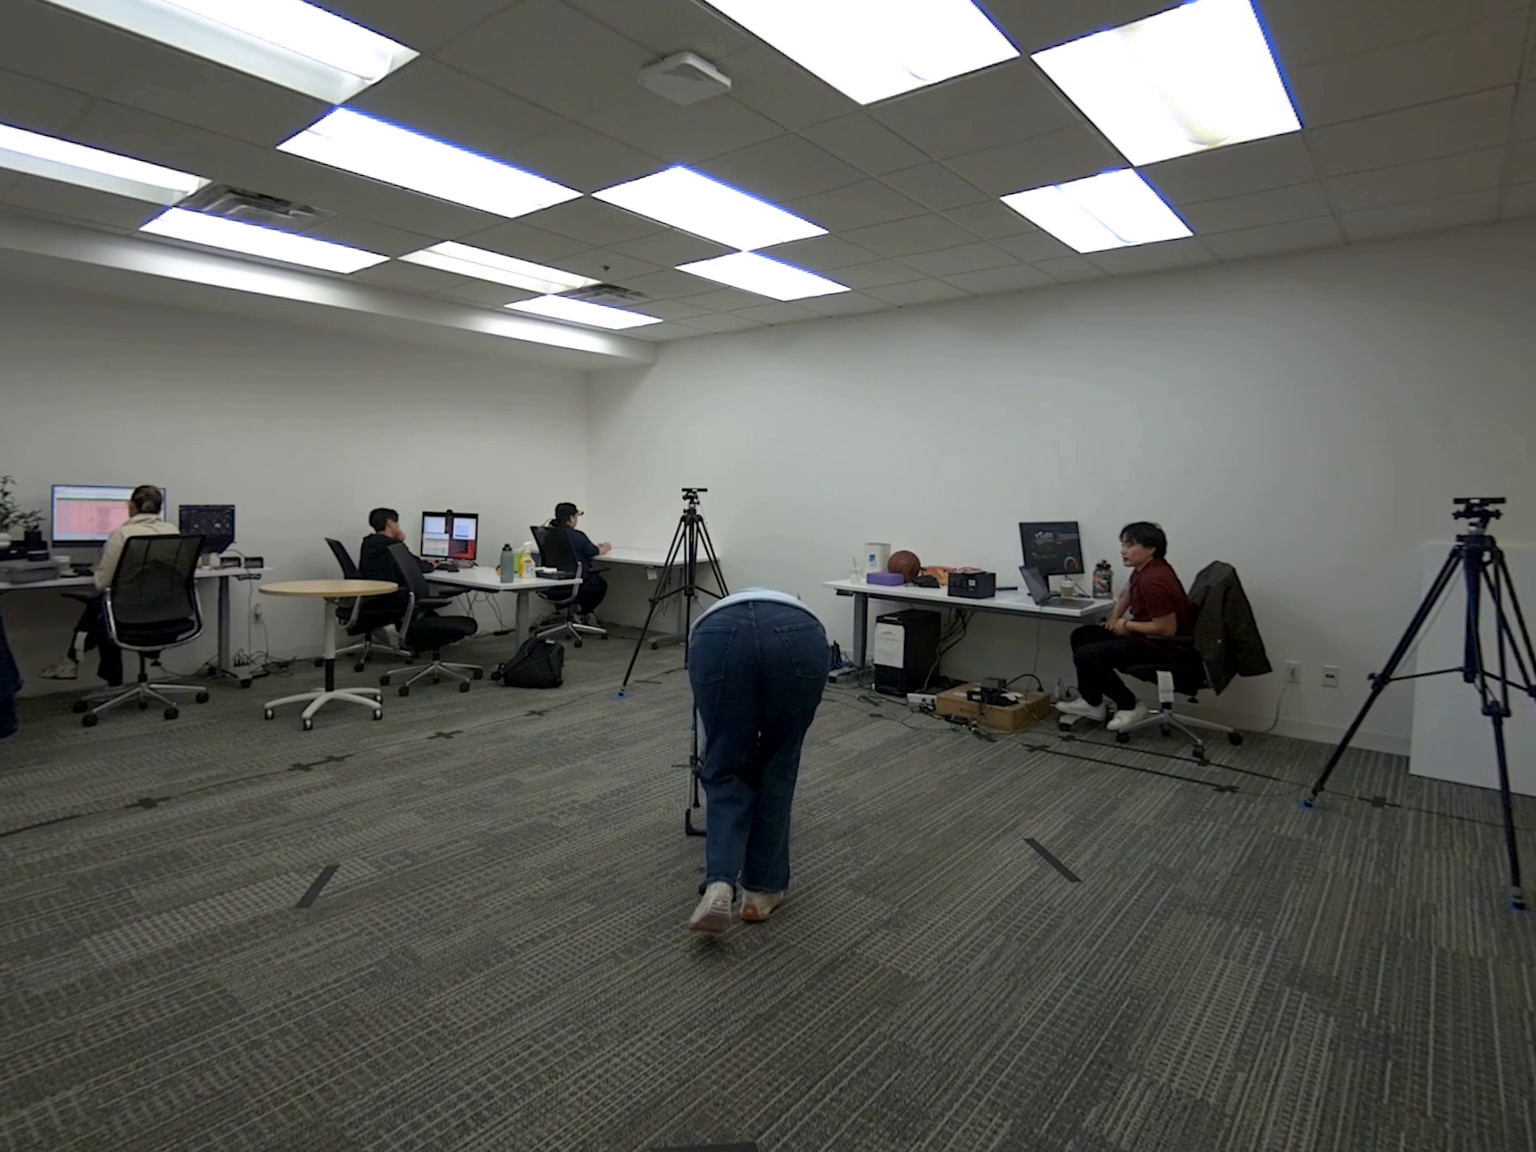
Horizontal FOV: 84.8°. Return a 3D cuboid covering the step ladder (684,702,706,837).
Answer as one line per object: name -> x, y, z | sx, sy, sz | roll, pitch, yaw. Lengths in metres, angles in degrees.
step ladder -> -0.122, 0.722, 3.544 | 0.433, 0.604, 0.349 | 1, 4, 3
